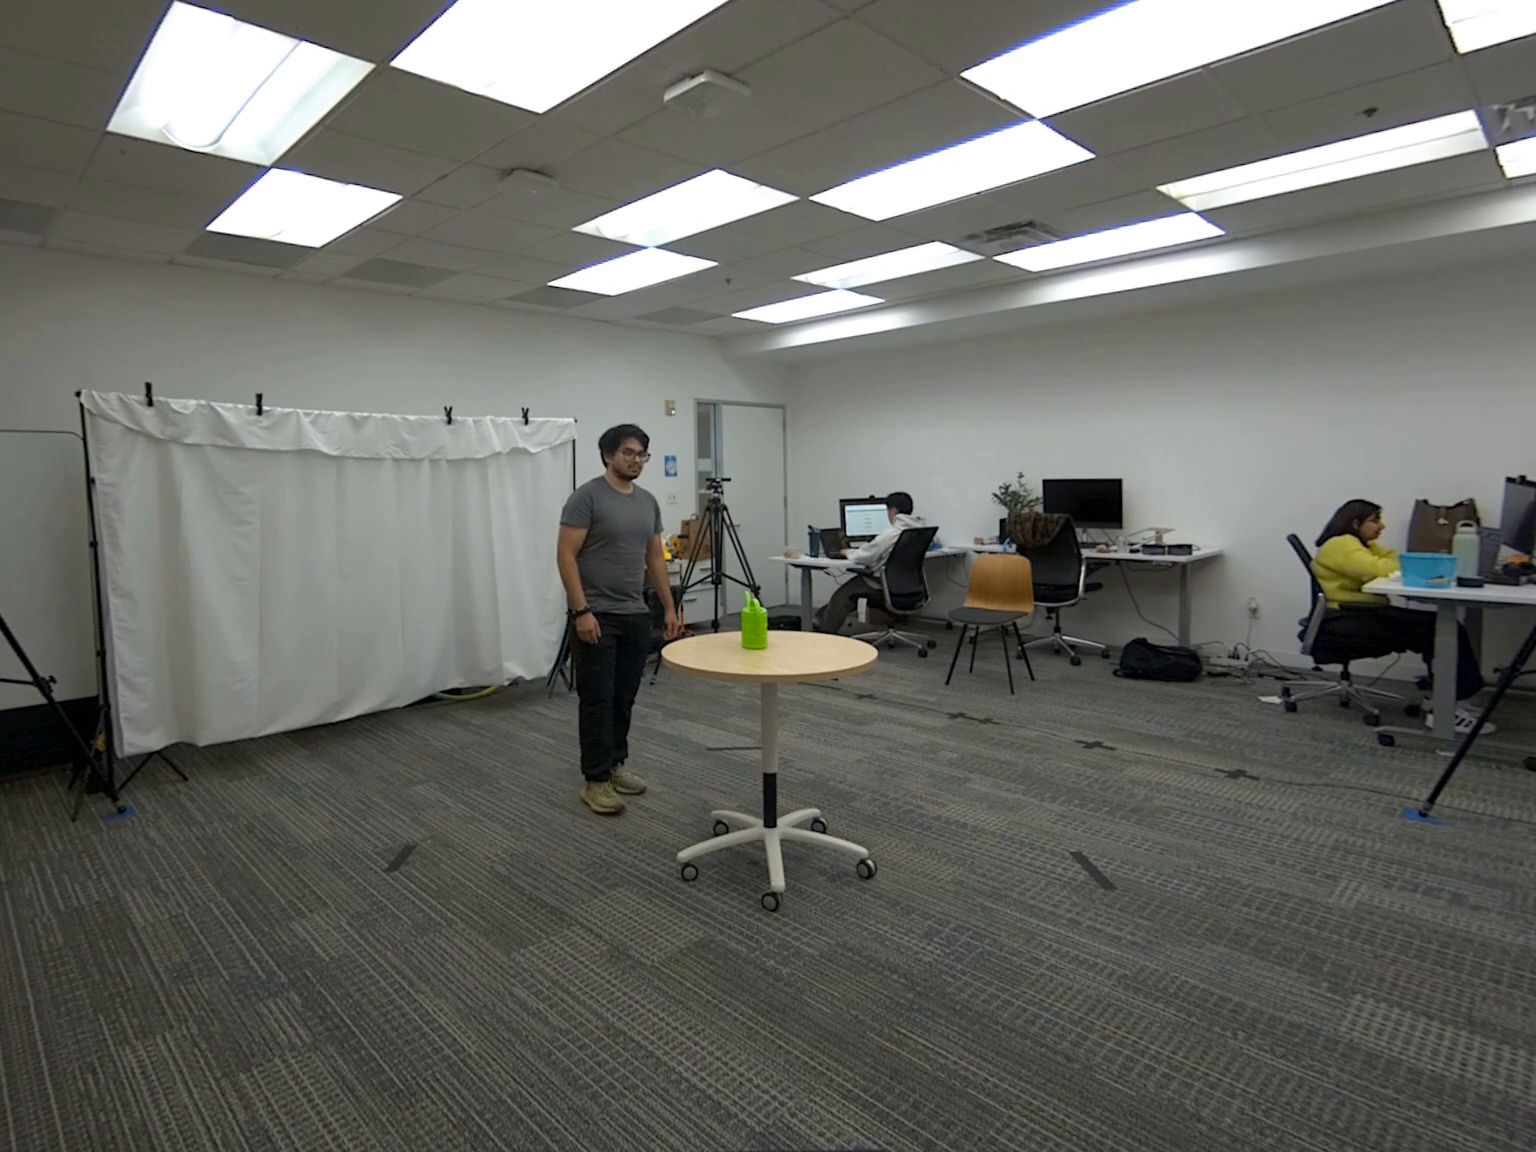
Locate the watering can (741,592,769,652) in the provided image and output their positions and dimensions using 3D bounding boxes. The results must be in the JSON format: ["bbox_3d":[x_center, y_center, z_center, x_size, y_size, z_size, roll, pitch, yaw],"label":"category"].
[{"bbox_3d":[-0.044,0.170,3.156,0.098,0.176,0.279,1,6,1],"label":"watering can"}]
